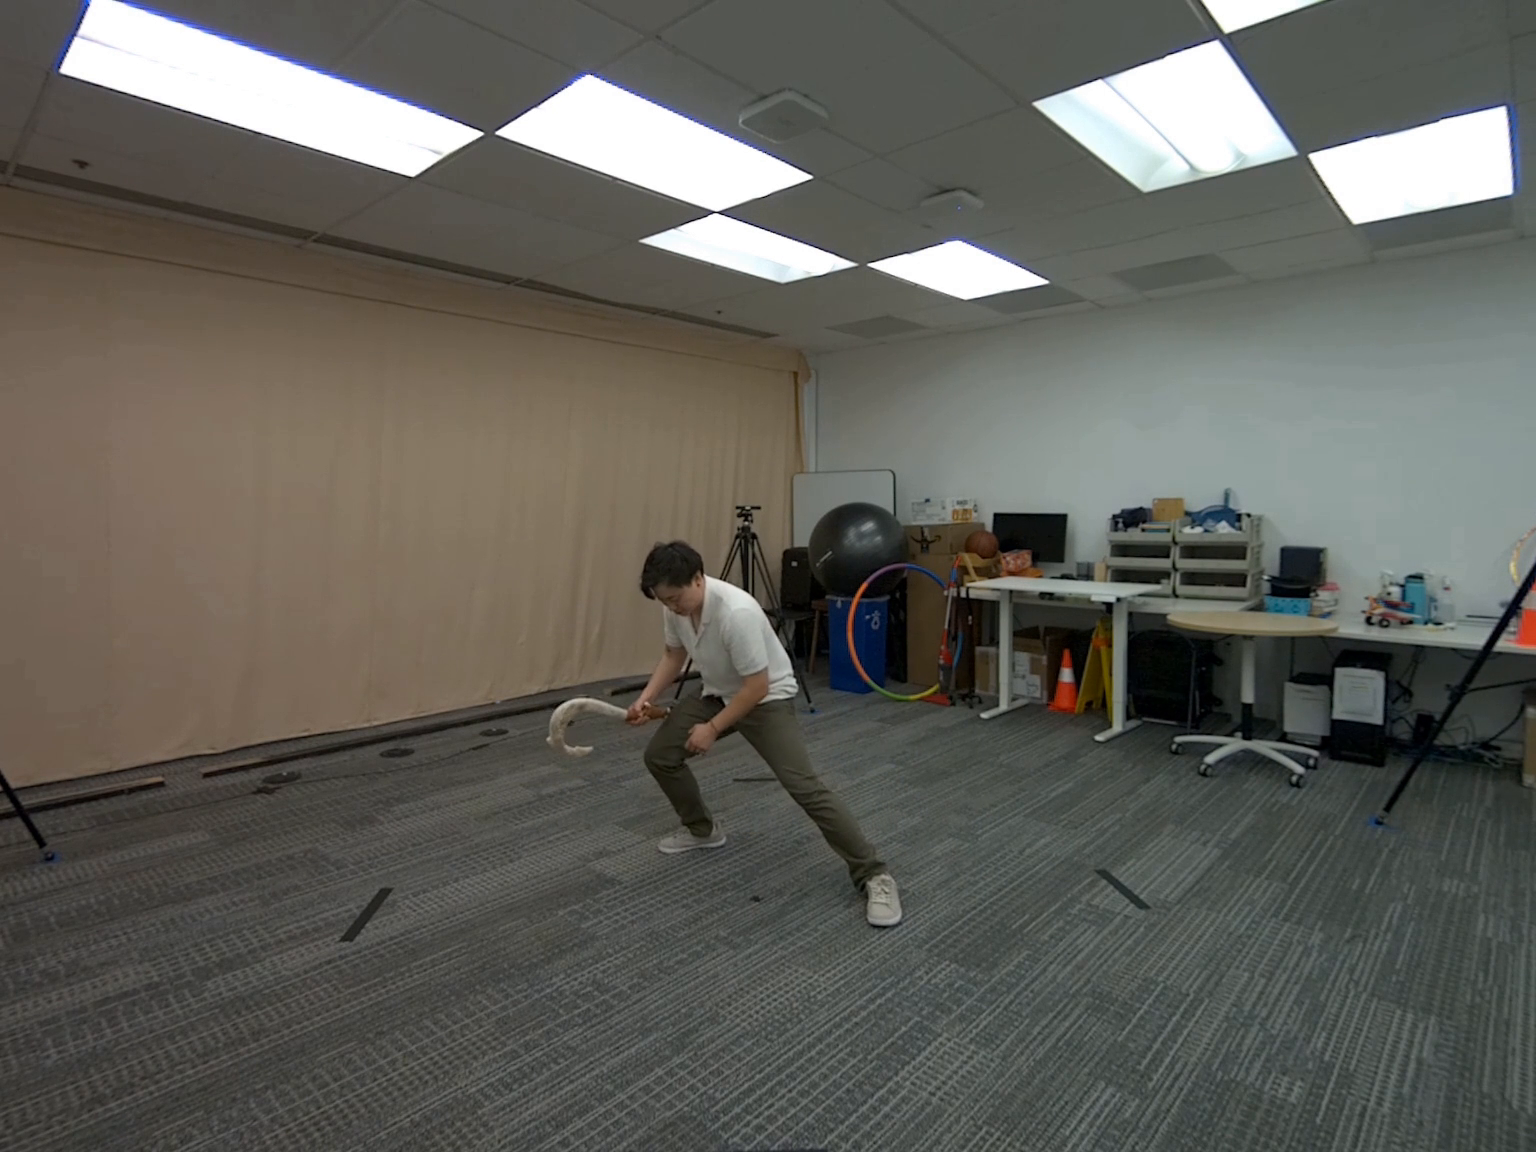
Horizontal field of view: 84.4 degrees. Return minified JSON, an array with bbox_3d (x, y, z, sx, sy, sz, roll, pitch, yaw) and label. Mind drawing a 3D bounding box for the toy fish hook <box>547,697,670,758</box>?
[{"bbox_3d":[-0.583,0.566,3.136,0.490,0.224,0.050,7,13,-36],"label":"toy fish hook"}]
